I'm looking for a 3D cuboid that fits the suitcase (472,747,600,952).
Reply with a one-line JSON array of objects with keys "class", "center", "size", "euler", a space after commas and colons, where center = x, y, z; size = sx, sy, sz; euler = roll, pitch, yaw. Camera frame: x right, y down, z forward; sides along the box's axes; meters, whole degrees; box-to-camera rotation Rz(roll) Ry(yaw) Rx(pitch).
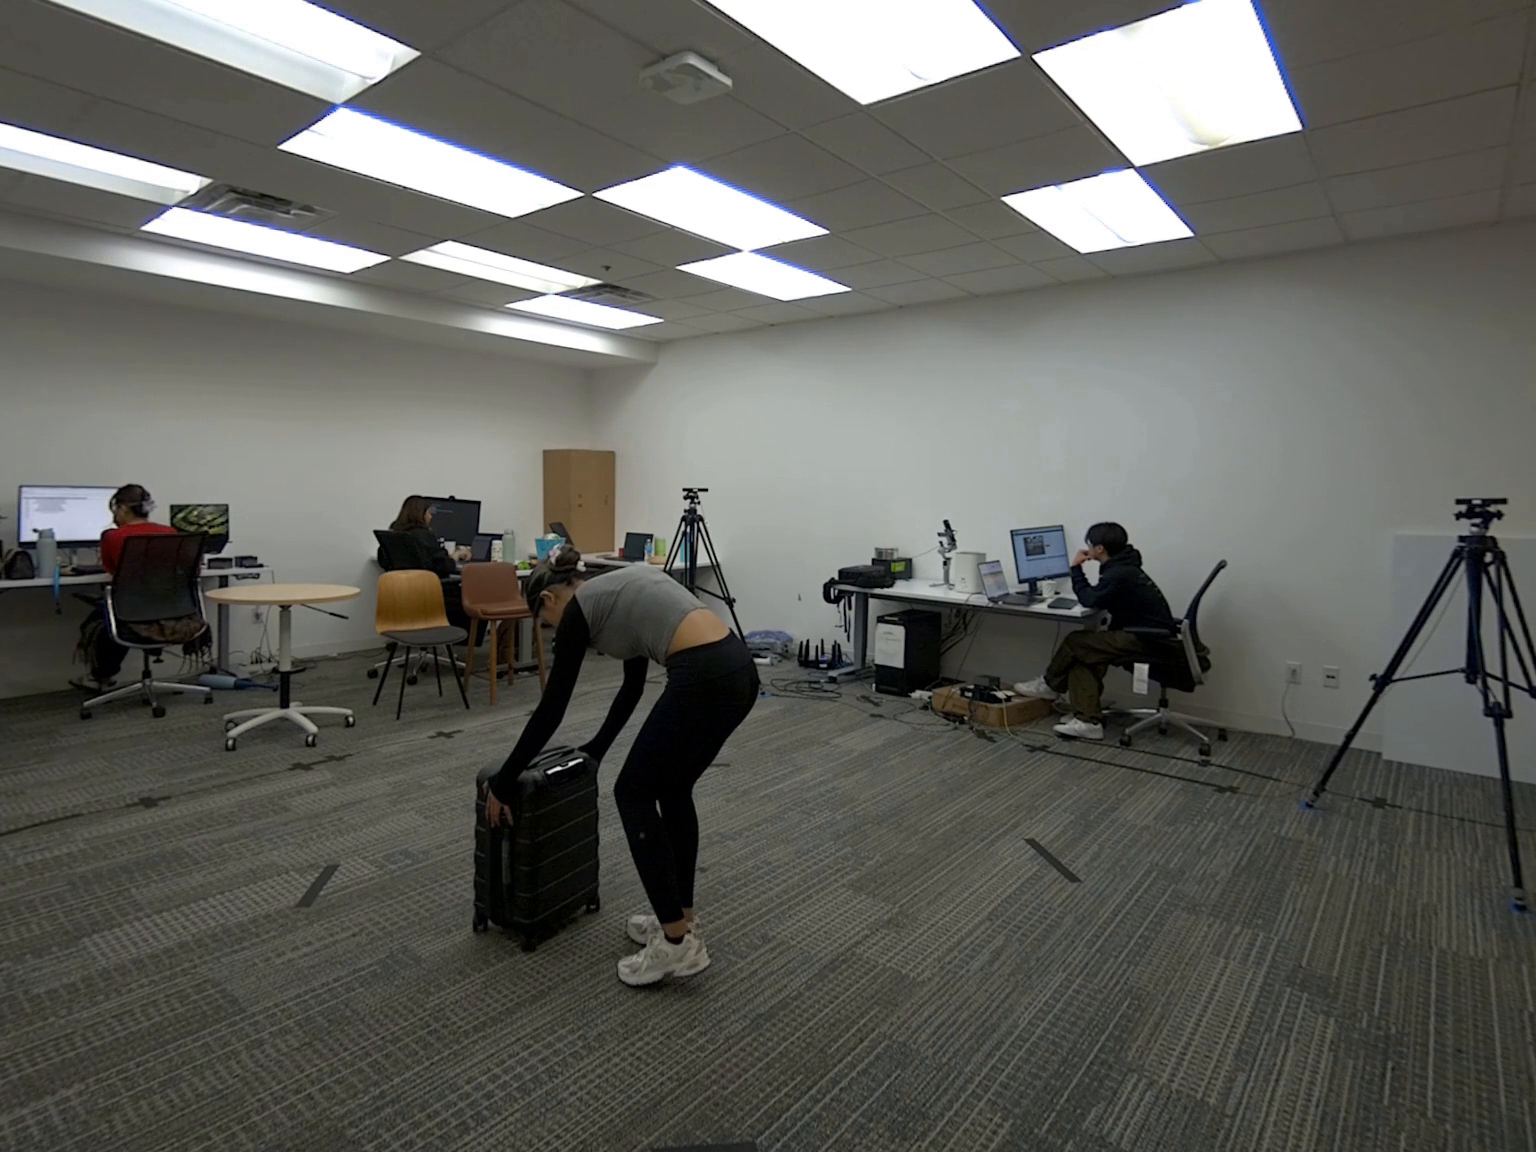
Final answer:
[{"class": "suitcase", "center": [-0.741, 0.831, 2.688], "size": [0.256, 0.547, 0.366], "euler": [4, 5, 30]}]
